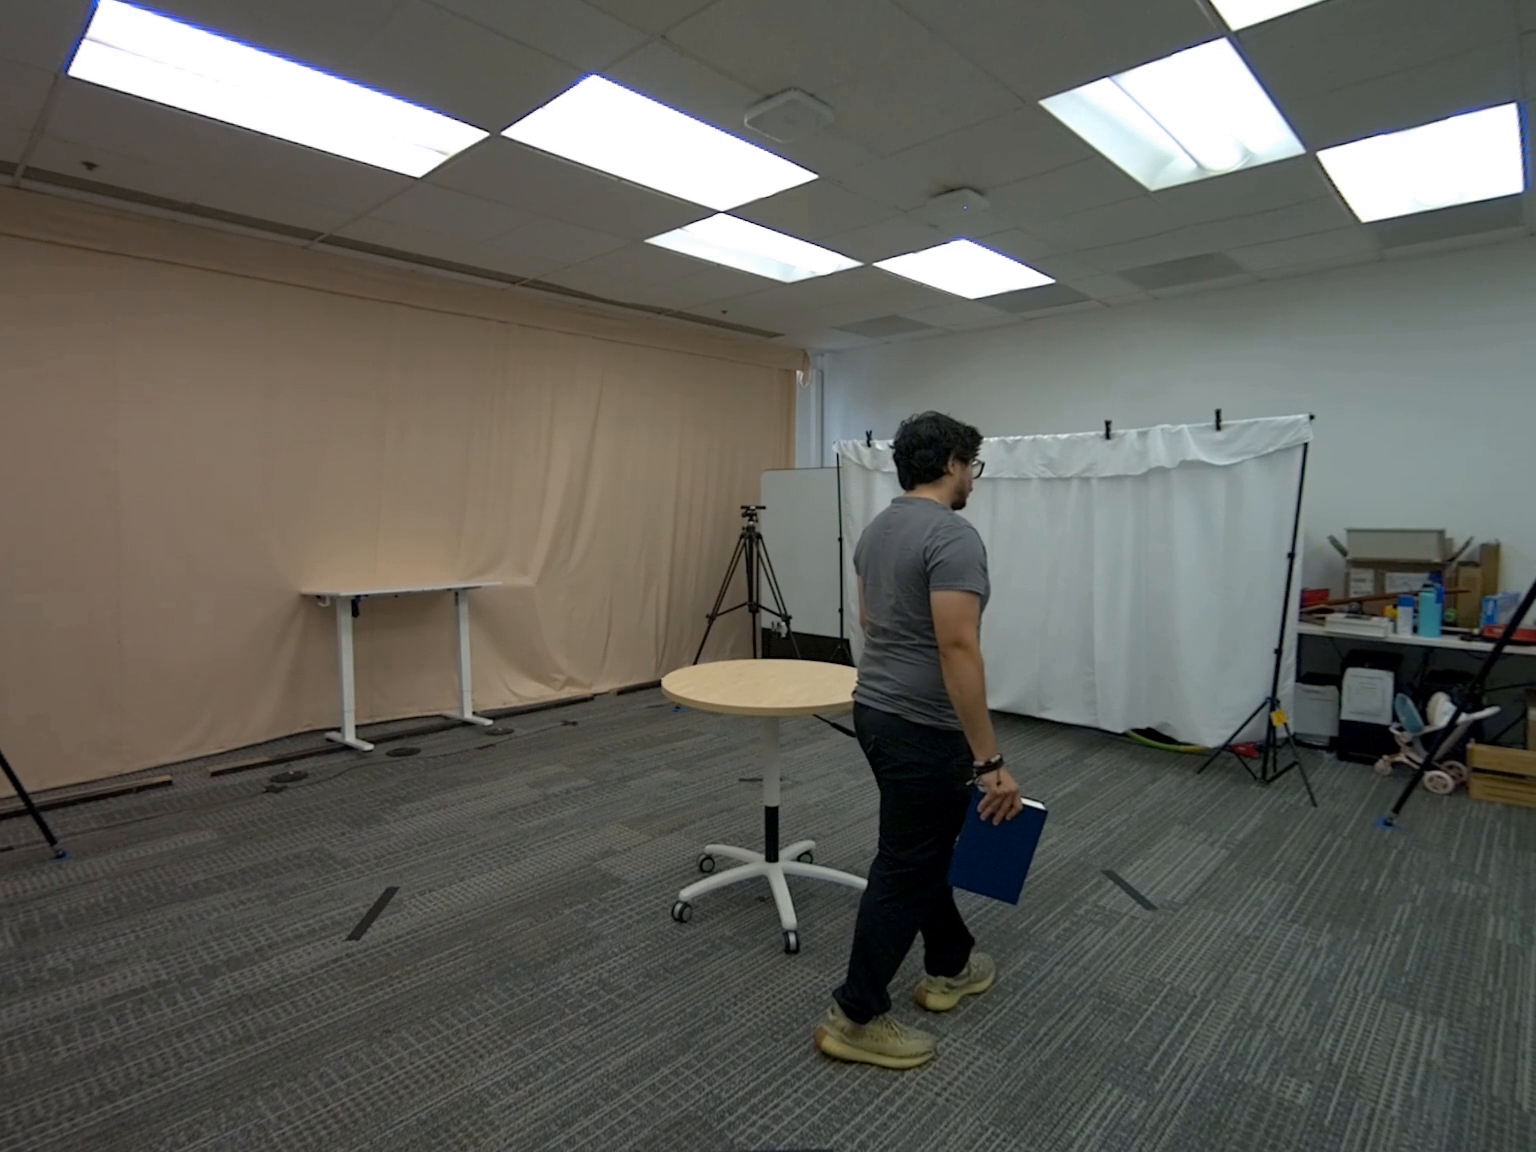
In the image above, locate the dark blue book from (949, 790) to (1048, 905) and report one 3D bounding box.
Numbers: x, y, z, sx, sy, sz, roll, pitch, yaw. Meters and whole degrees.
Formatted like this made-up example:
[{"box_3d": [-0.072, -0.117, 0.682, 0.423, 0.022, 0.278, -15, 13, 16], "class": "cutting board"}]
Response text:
[{"box_3d": [0.536, 0.621, 1.963, 0.165, 0.244, 0.045, 16, 9, 6], "class": "dark blue book"}]
